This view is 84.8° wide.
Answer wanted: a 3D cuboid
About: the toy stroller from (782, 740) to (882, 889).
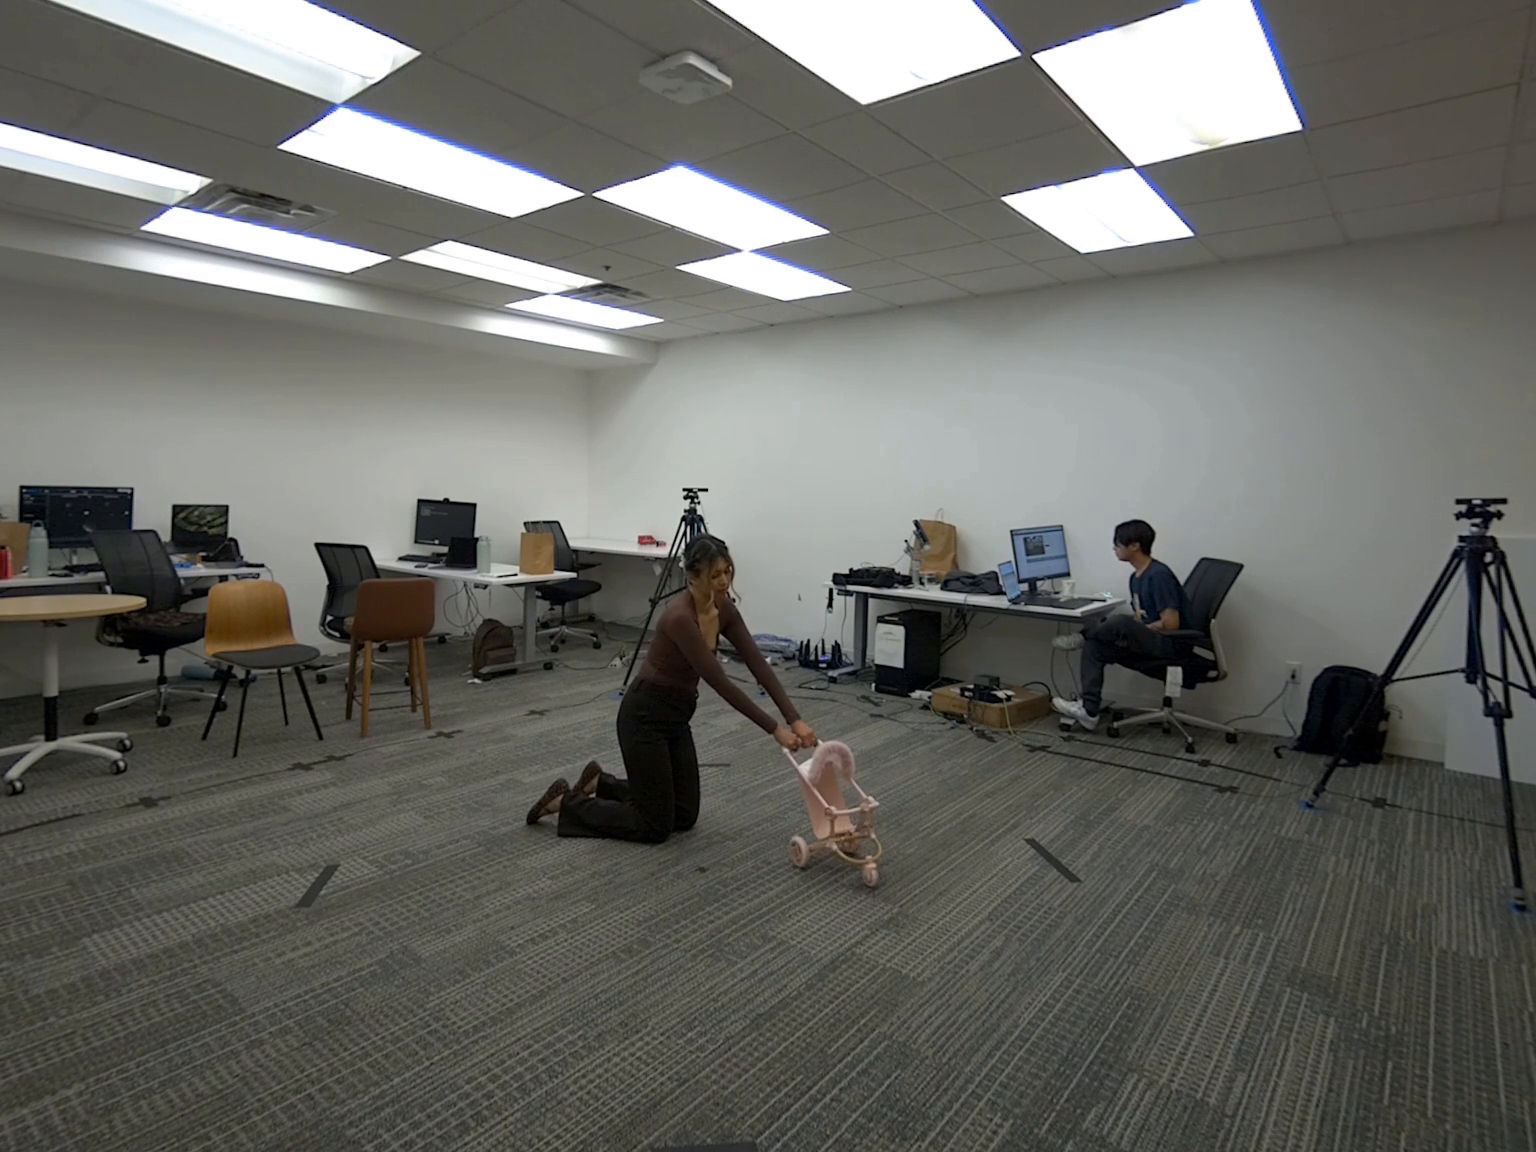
[{"bbox_3d":[0.240,0.848,3.162,0.274,0.542,0.346,-1,-14,-31],"label":"toy stroller"}]
